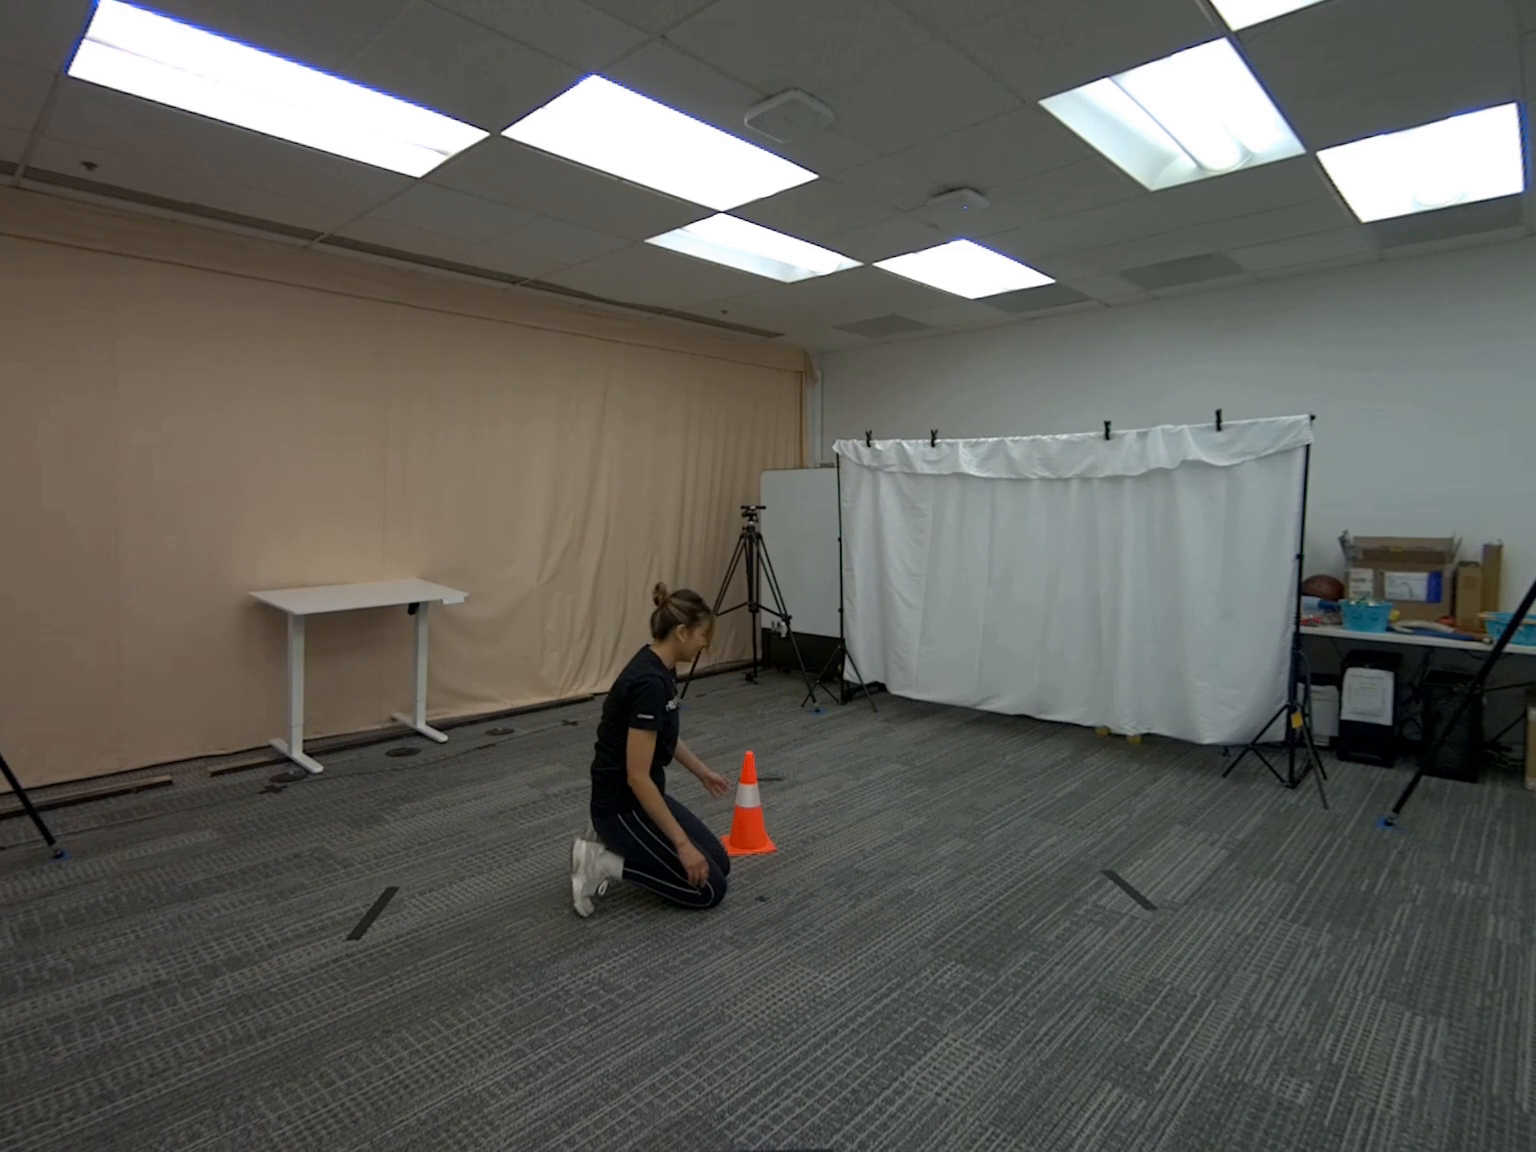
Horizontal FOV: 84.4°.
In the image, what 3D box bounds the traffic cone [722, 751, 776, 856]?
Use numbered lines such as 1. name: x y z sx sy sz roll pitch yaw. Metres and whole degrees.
1. traffic cone: -0.086 0.917 3.467 0.203 0.383 0.205 -2 1 -8
